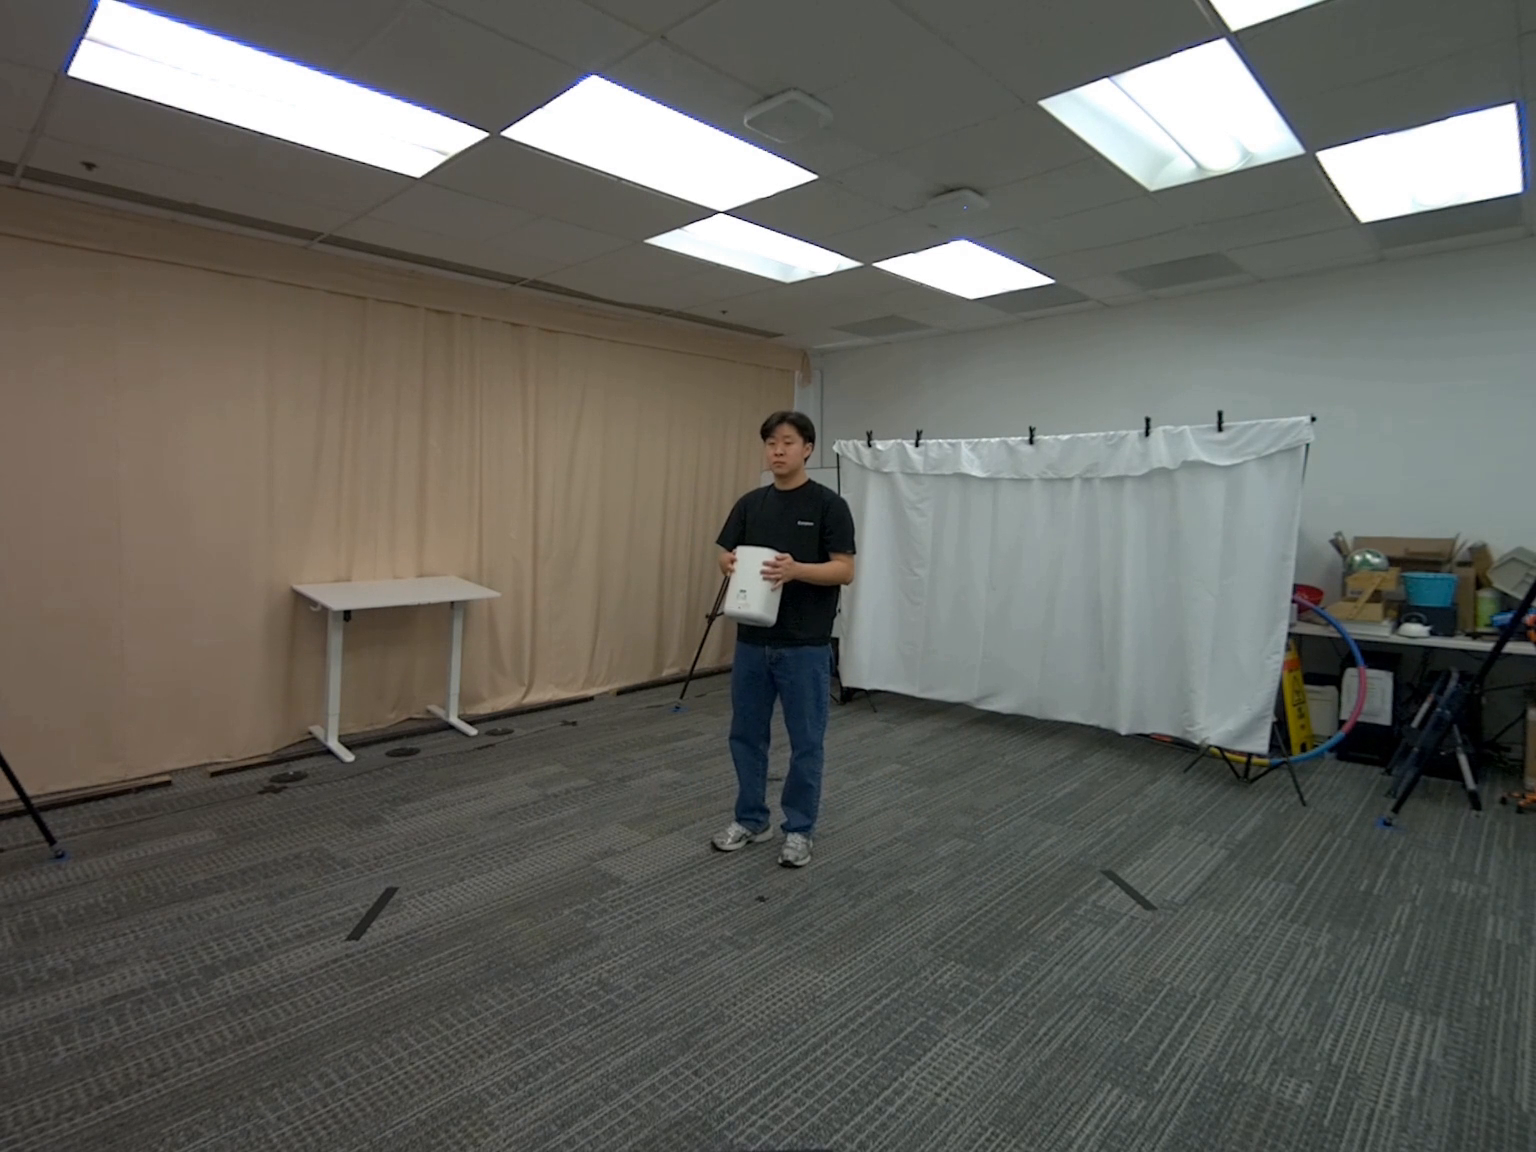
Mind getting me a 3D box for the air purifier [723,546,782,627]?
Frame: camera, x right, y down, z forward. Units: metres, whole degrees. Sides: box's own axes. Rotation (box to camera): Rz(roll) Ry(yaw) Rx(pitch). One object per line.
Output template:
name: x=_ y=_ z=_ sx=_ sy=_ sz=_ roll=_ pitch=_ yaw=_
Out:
air purifier: x=-0.038 y=0.043 z=3.095 sx=0.176 sy=0.266 sz=0.166 roll=6 pitch=-14 yaw=26
